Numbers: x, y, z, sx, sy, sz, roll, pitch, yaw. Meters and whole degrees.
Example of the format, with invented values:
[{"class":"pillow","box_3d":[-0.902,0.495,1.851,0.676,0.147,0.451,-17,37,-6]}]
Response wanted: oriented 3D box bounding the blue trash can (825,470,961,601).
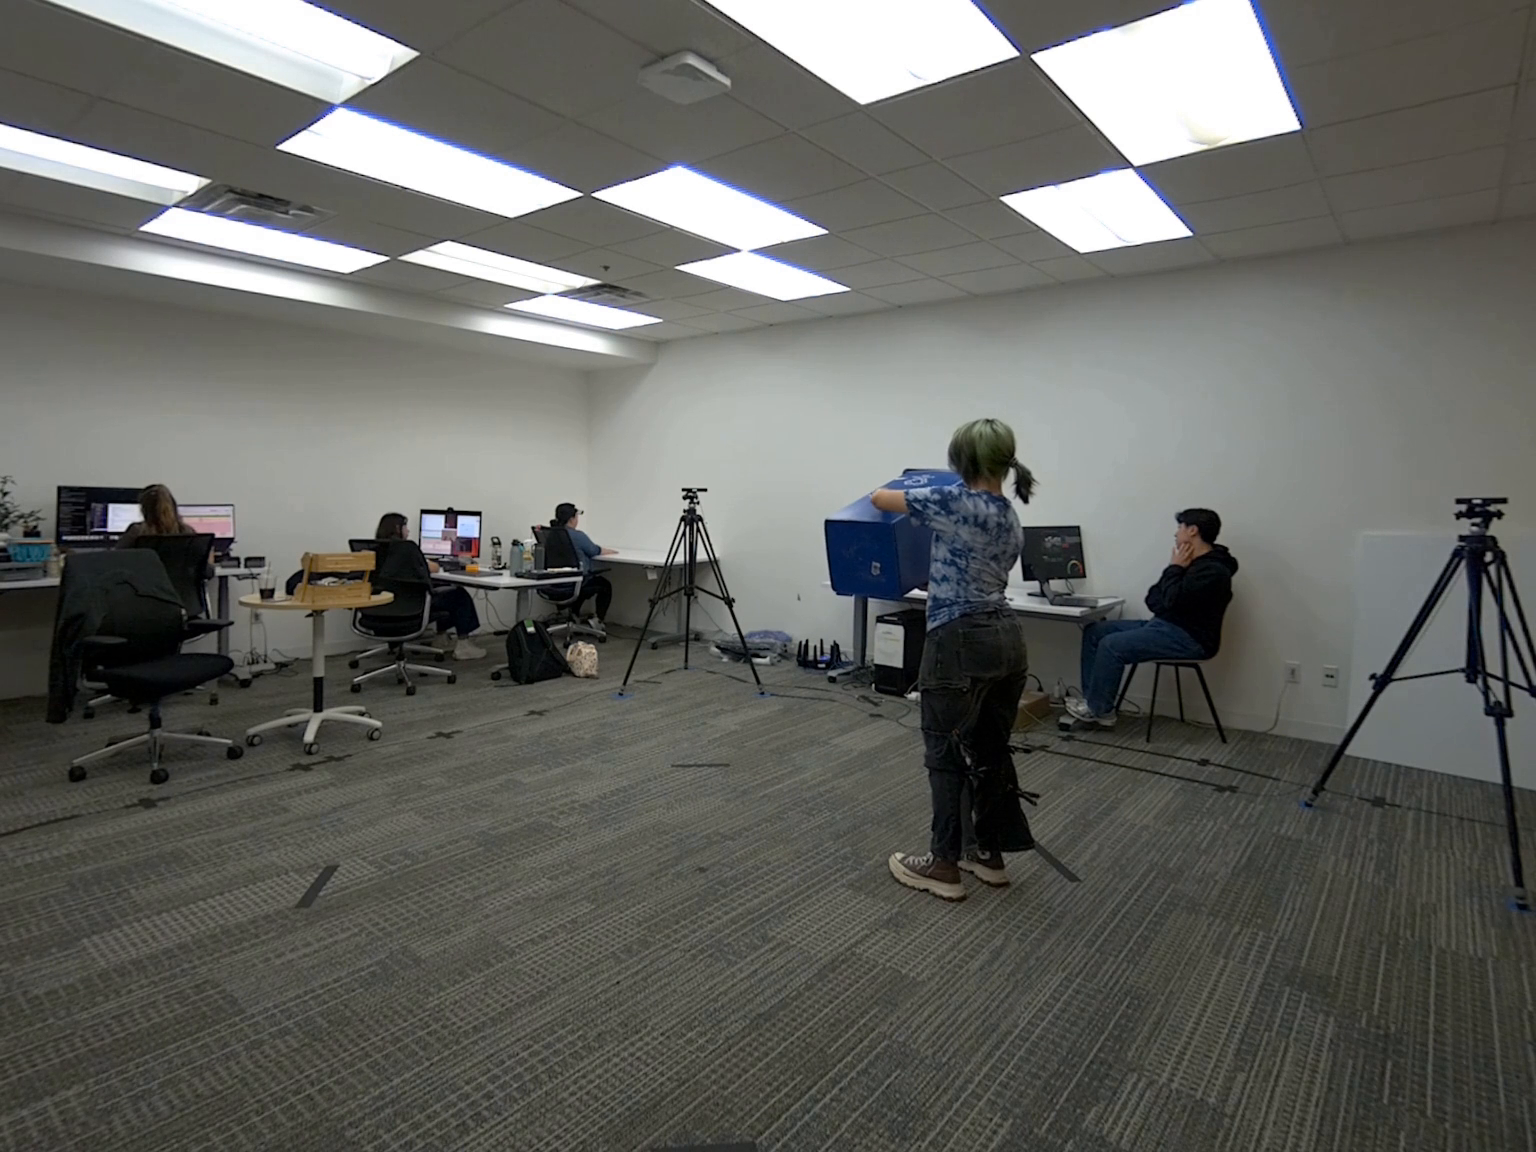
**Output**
[{"class":"blue trash can","box_3d":[0.558,-0.175,3.475,0.387,0.371,0.703,6,23,38]}]
